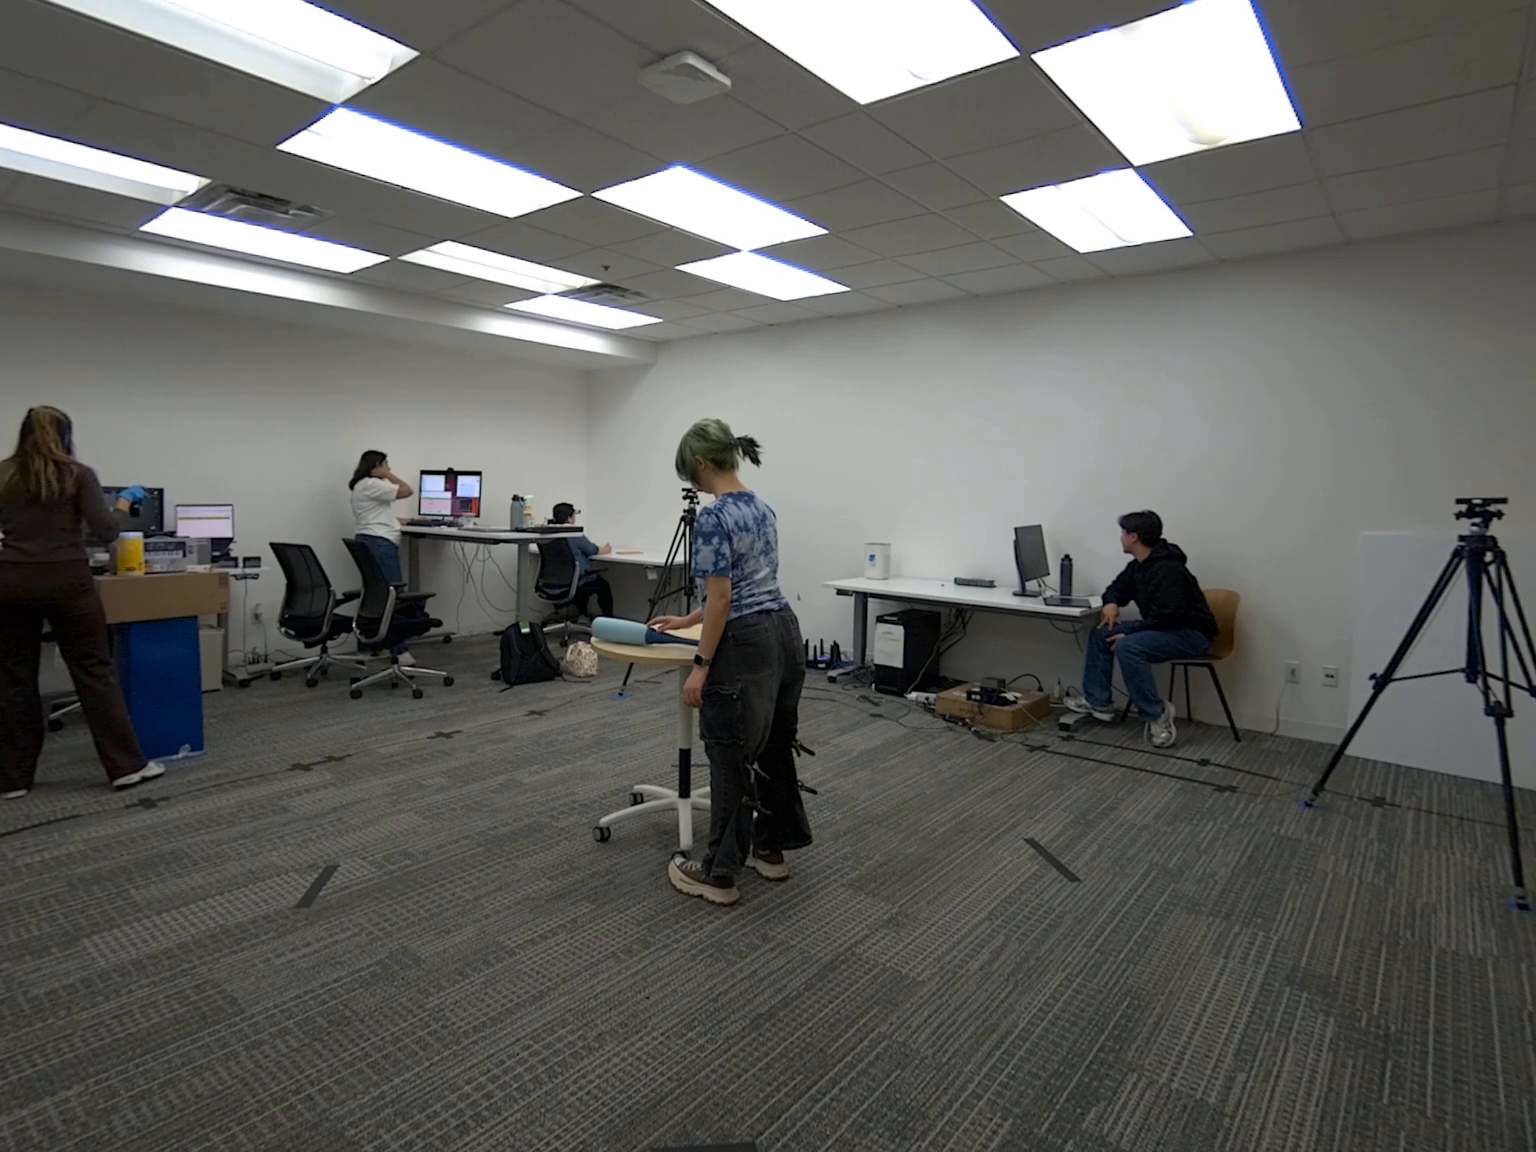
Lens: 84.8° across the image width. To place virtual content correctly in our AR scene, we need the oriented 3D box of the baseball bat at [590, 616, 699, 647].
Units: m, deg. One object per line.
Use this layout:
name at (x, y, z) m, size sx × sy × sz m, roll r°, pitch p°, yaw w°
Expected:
baseball bat at (-0.444, 0.234, 3.256) m, size 0.557 × 0.089 × 0.087 m, roll 7°, pitch 6°, yaw 25°
